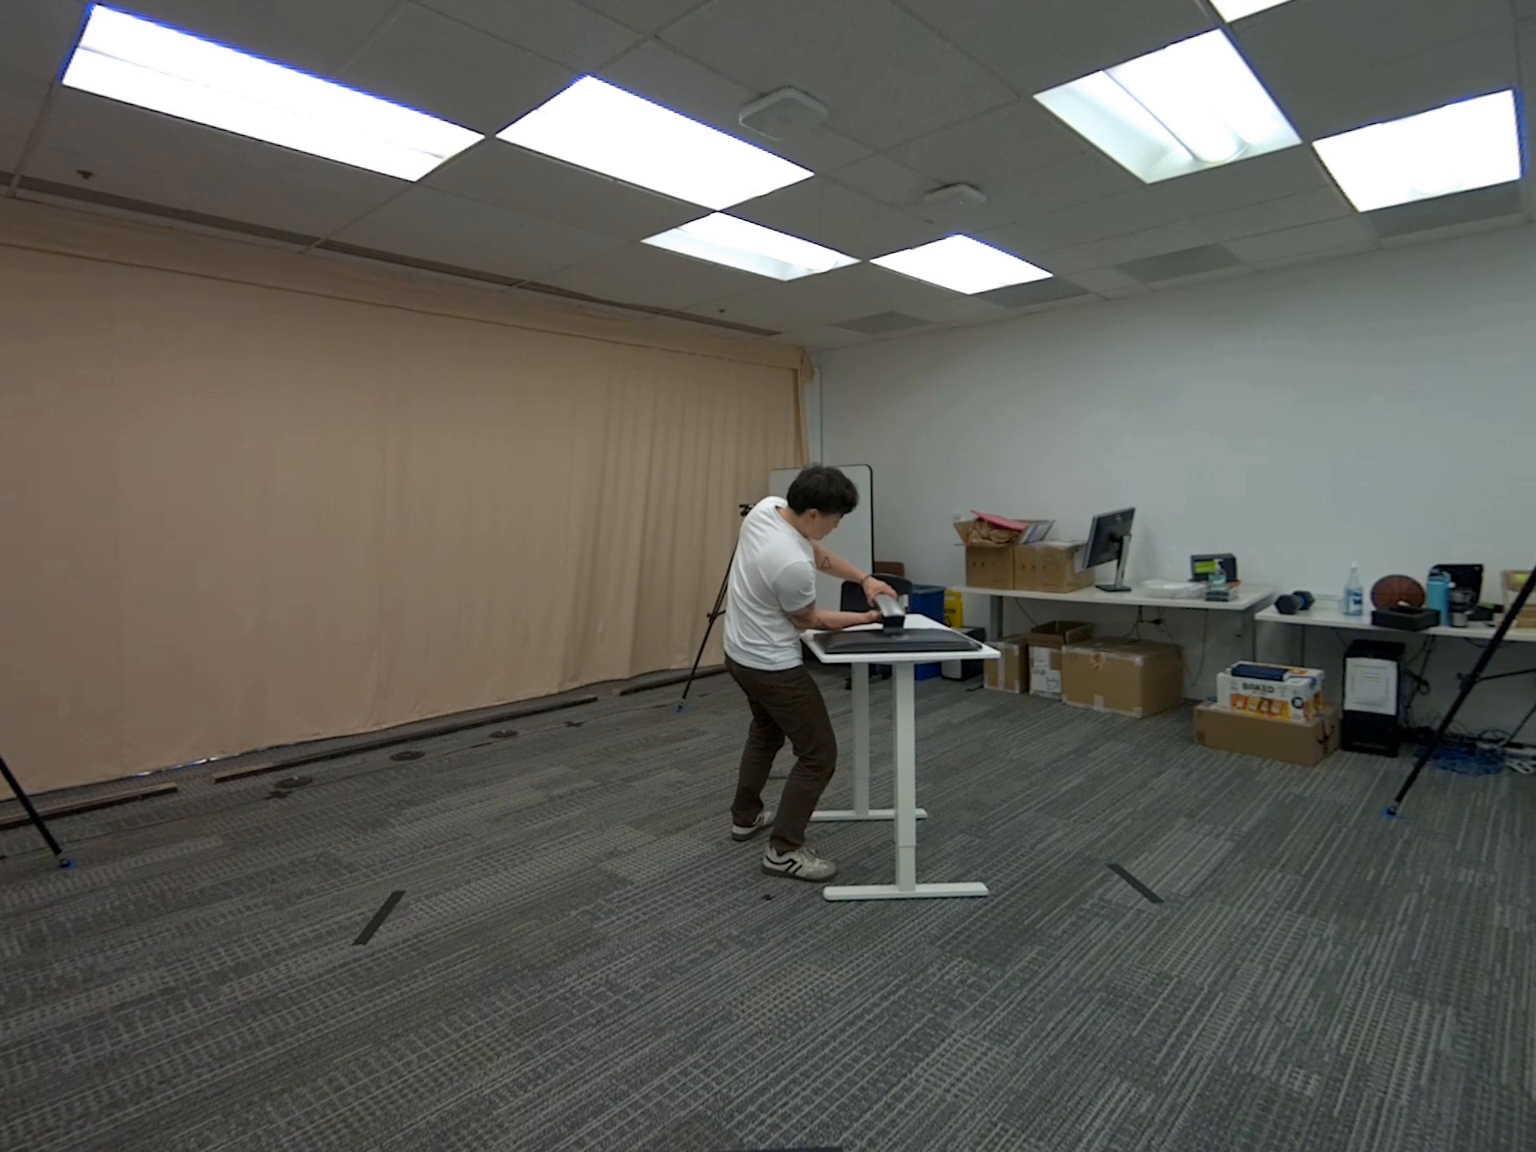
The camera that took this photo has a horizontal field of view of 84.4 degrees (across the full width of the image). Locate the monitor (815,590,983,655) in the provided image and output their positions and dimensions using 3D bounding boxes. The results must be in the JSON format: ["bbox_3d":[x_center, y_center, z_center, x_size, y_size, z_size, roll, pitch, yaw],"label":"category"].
[{"bbox_3d":[0.450,0.171,3.097,0.538,0.185,0.530,-2,21,-2],"label":"monitor"}]
